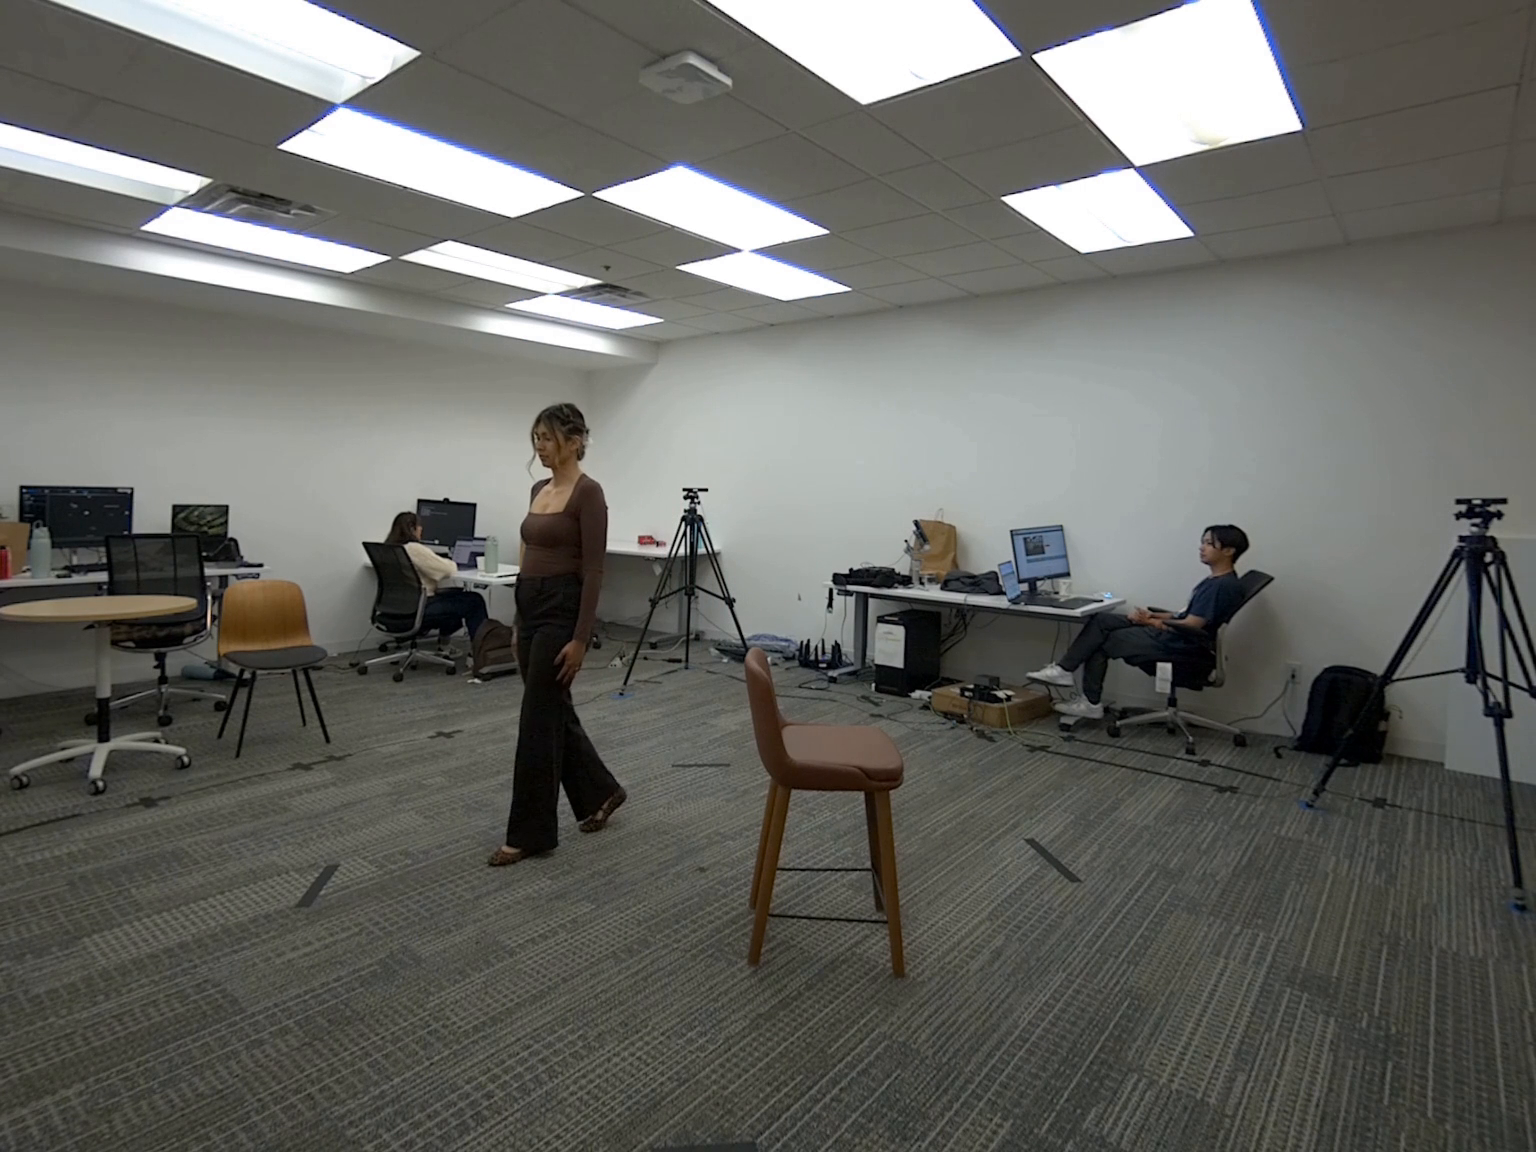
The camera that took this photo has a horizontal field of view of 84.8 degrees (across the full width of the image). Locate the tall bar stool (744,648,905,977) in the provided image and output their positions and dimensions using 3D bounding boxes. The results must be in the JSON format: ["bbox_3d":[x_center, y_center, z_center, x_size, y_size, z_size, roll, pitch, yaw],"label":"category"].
[{"bbox_3d":[0.168,0.688,2.633,0.469,0.887,0.457,0,3,1],"label":"tall bar stool"}]
